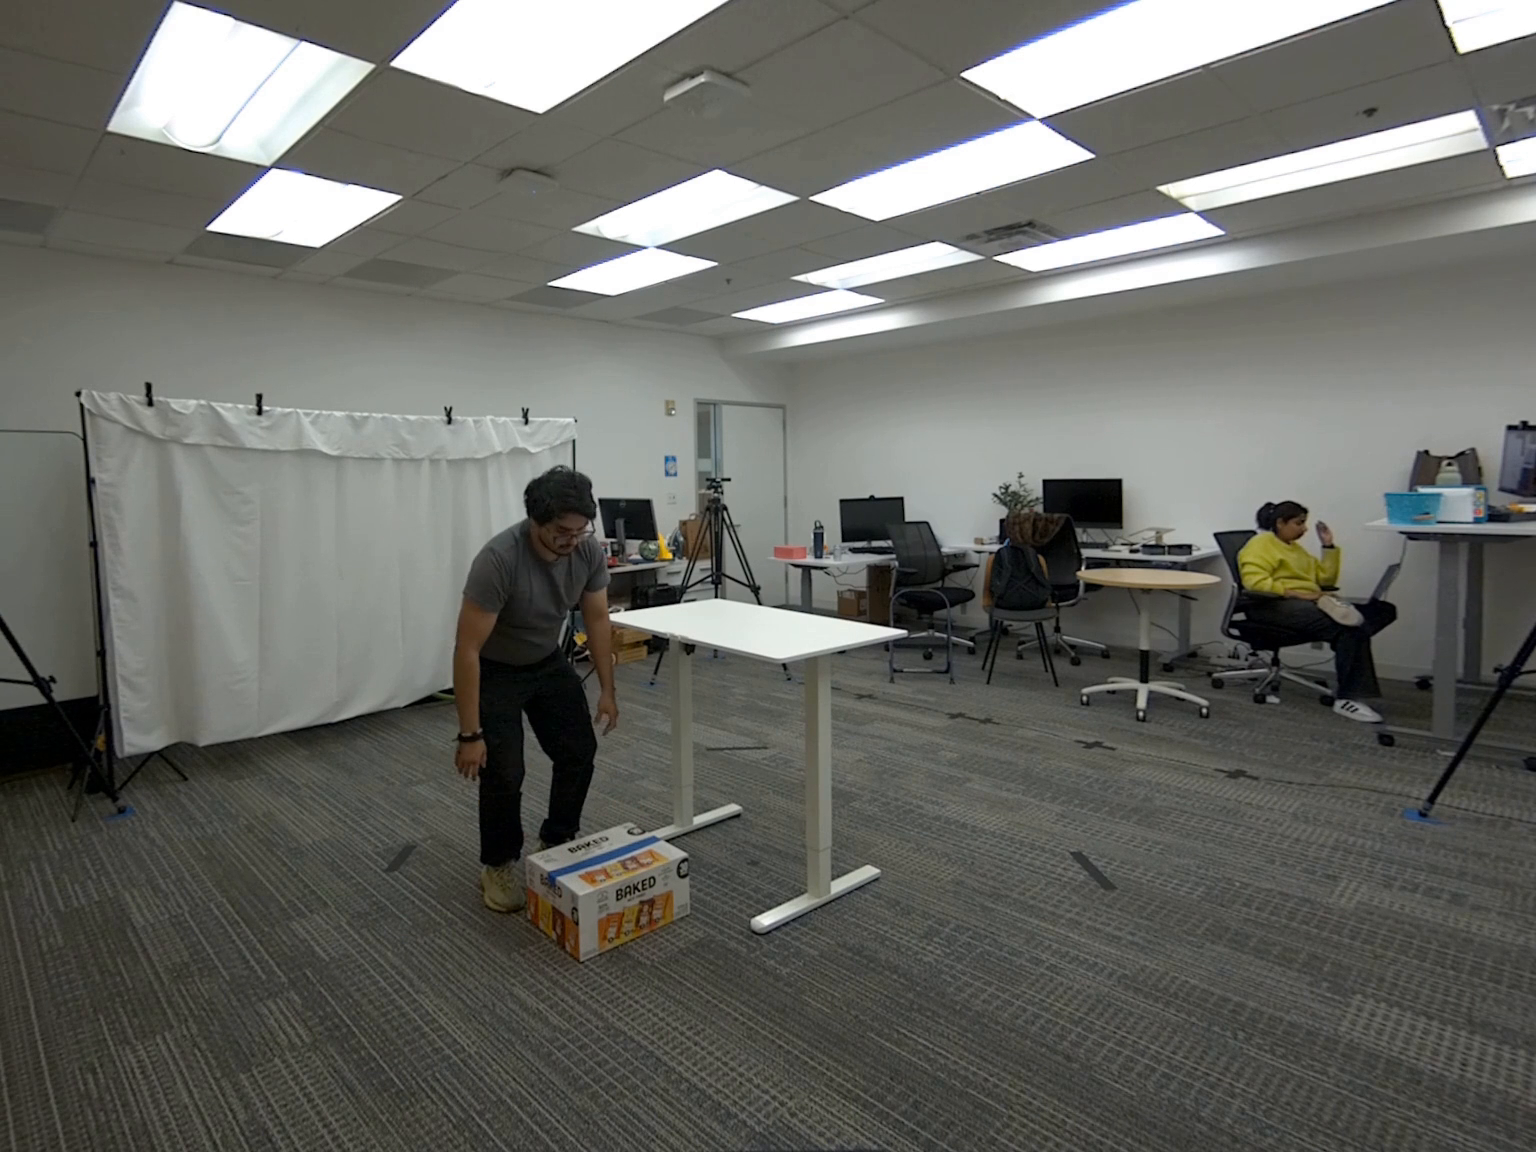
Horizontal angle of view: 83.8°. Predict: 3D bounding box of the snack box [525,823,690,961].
[{"bbox_3d":[-0.509,0.996,2.730,0.395,0.204,0.351,-7,9,-41],"label":"snack box"}]
